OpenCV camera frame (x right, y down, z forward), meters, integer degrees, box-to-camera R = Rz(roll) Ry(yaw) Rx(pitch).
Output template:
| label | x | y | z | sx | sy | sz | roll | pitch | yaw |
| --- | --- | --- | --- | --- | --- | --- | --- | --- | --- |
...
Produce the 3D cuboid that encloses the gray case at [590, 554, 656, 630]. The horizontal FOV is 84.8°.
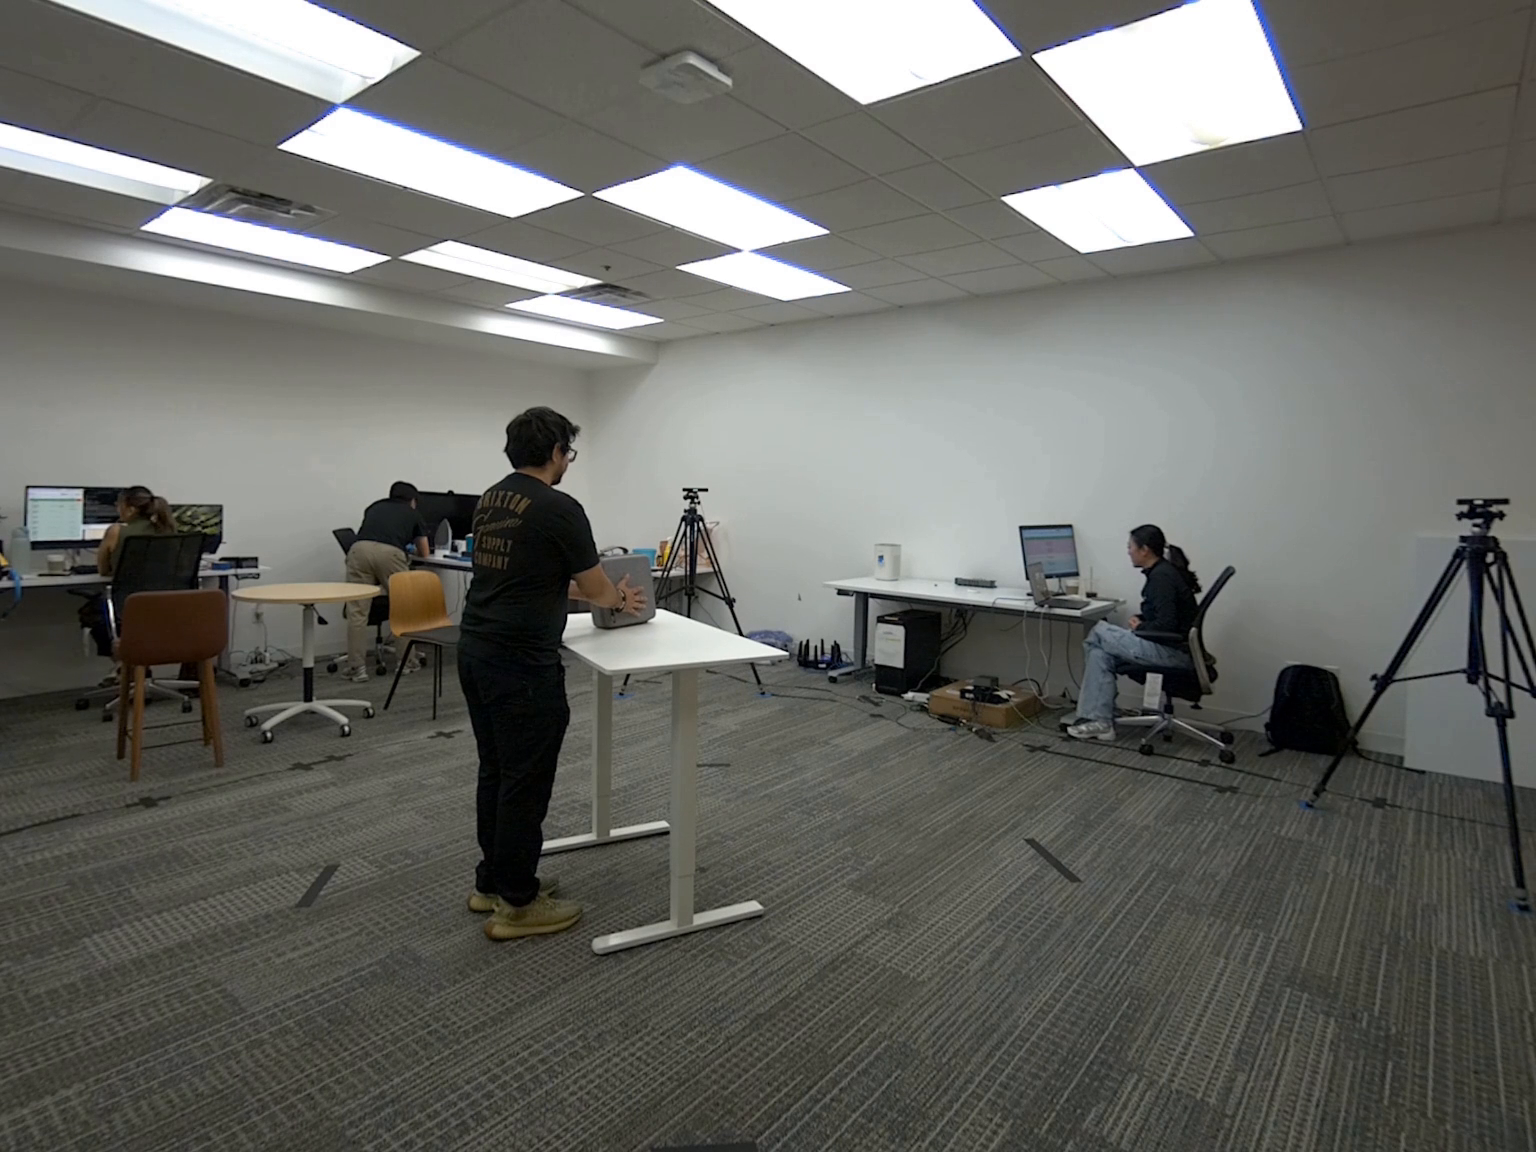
| label | x | y | z | sx | sy | sz | roll | pitch | yaw |
| --- | --- | --- | --- | --- | --- | --- | --- | --- | --- |
| gray case | -0.552 | 0.047 | 3.126 | 0.107 | 0.261 | 0.250 | -10 | -2 | 41 |
